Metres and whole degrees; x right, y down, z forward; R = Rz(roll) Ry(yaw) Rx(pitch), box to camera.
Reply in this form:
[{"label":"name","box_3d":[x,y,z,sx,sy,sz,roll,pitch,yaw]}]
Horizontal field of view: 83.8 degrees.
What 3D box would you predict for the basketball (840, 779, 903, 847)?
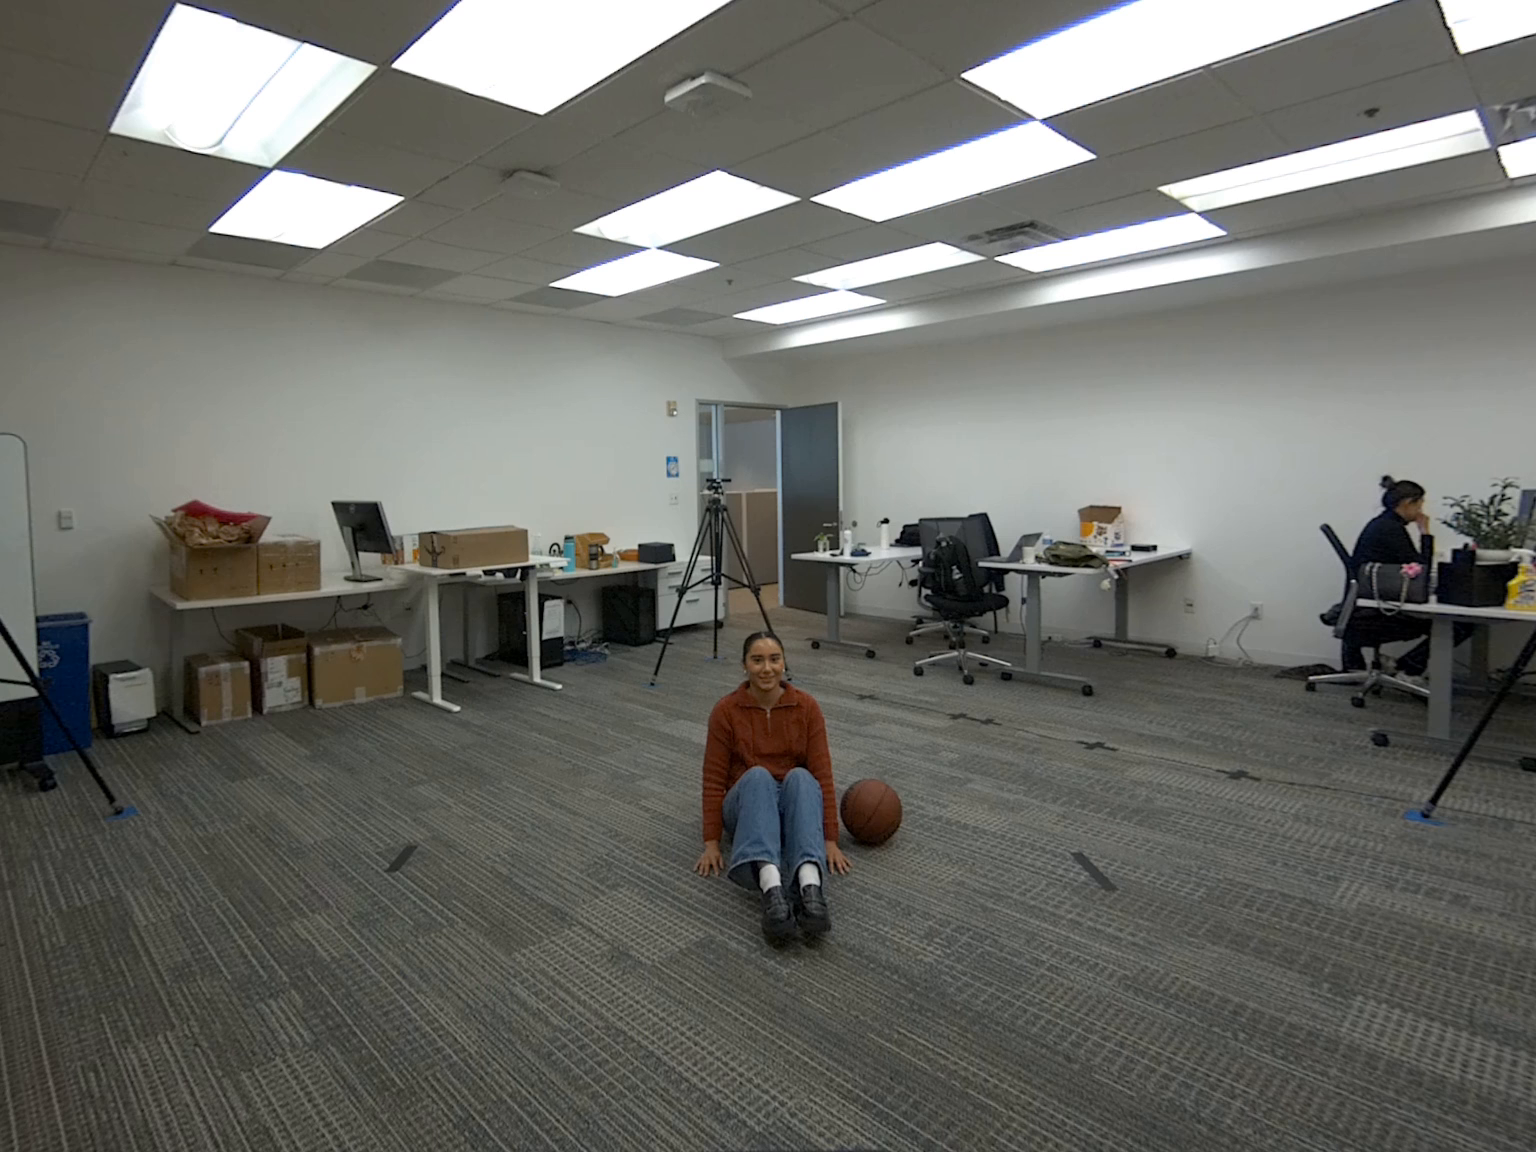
[{"label":"basketball","box_3d":[0.394,0.894,3.272,0.236,0.235,0.237,-1,5,-2]}]
